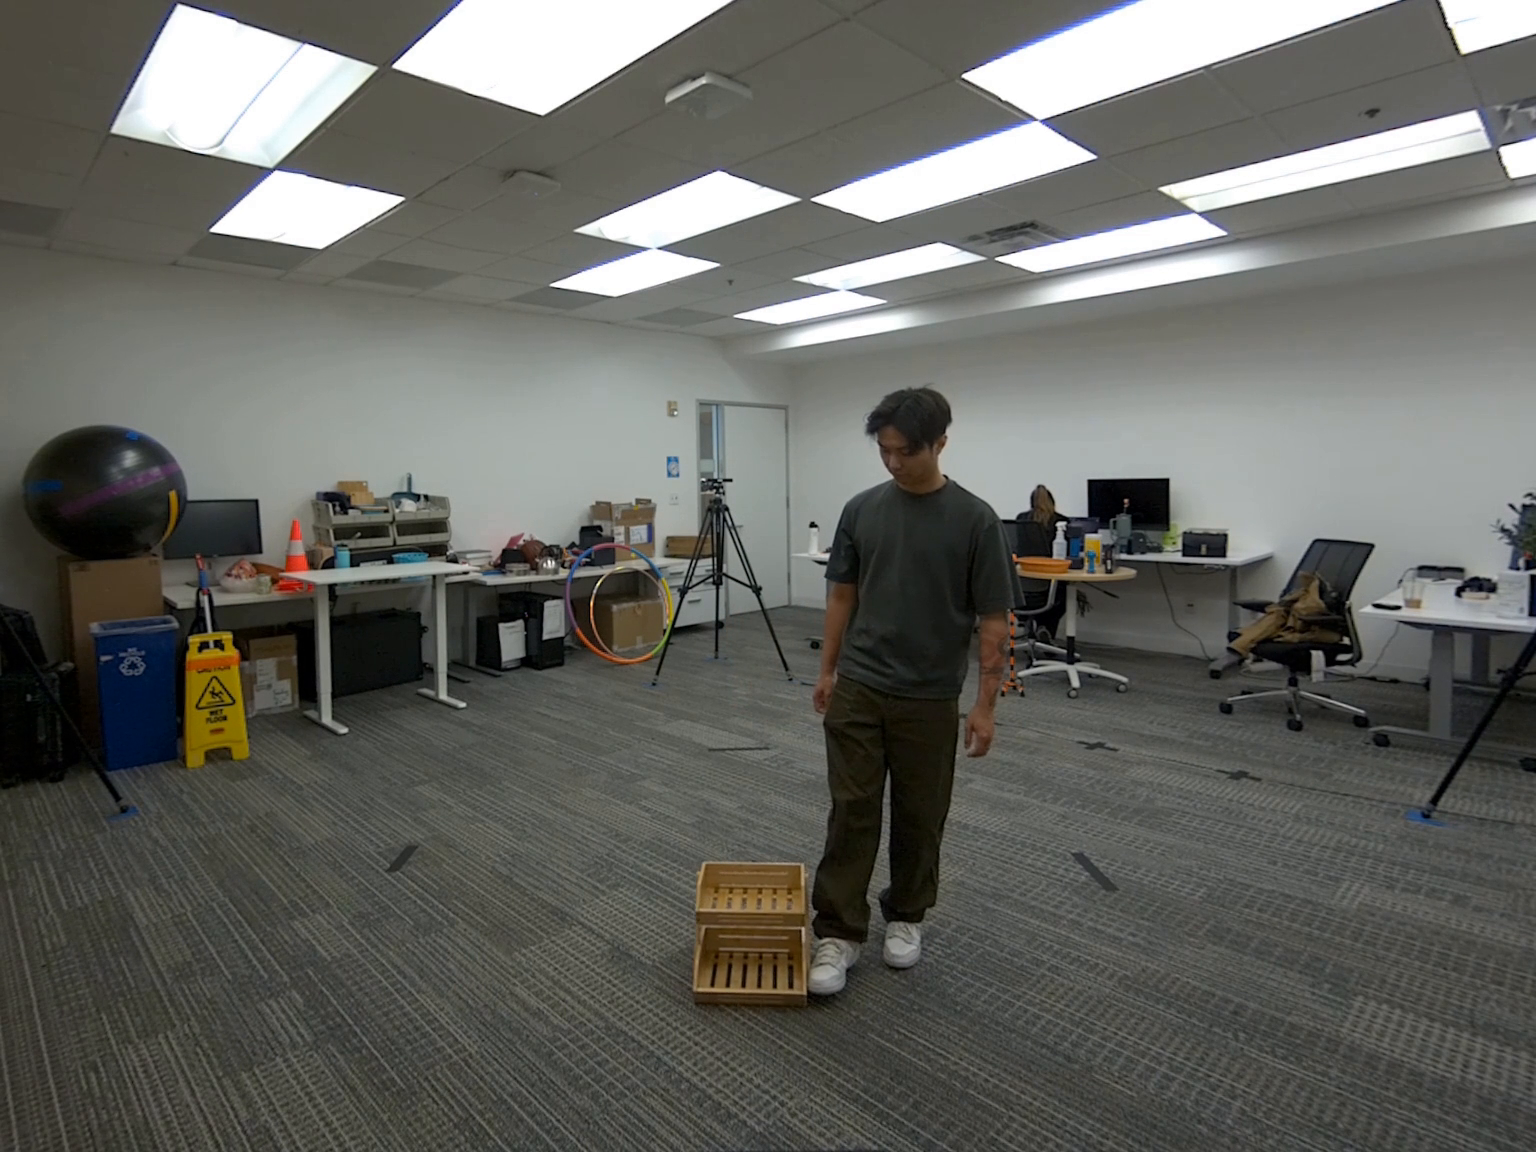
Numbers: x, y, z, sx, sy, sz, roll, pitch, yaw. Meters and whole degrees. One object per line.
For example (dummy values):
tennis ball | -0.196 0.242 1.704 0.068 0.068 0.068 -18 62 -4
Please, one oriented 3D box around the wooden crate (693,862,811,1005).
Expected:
wooden crate | -0.036 0.999 2.381 0.325 0.272 0.303 -1 6 3
